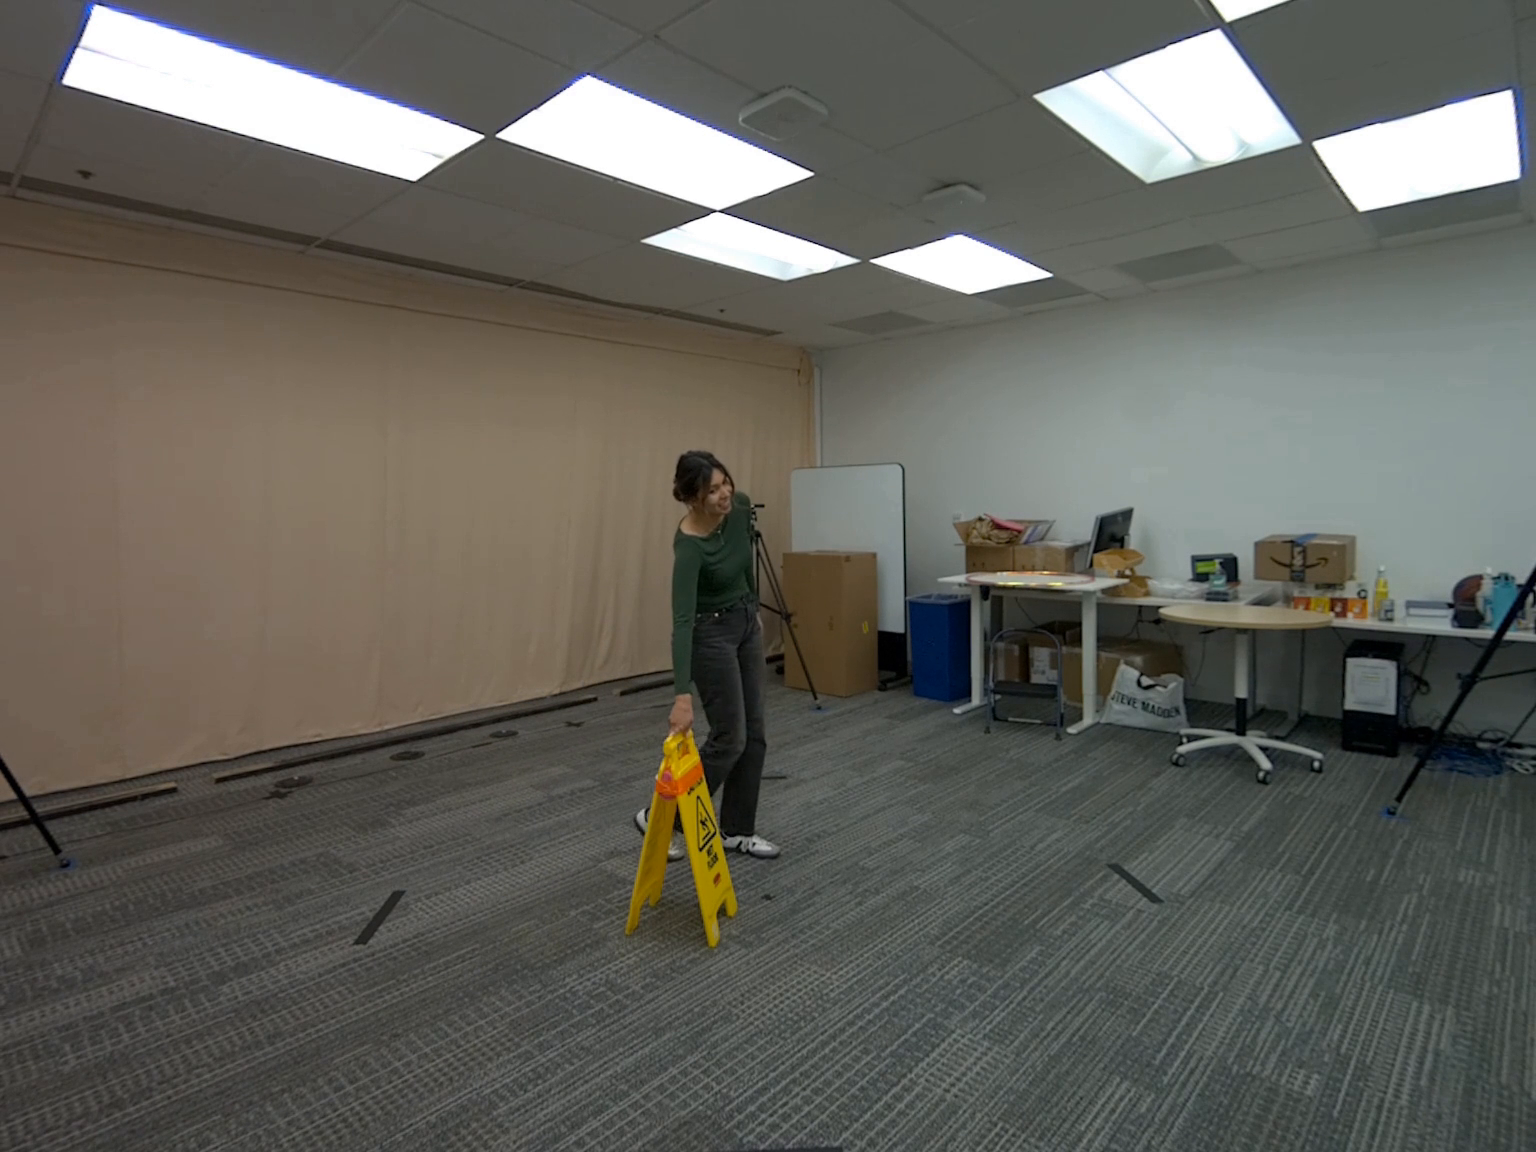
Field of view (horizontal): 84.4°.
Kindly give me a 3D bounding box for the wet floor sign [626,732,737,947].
[{"bbox_3d":[-0.287,0.836,2.804,0.295,0.644,0.278,0,4,17],"label":"wet floor sign"}]
